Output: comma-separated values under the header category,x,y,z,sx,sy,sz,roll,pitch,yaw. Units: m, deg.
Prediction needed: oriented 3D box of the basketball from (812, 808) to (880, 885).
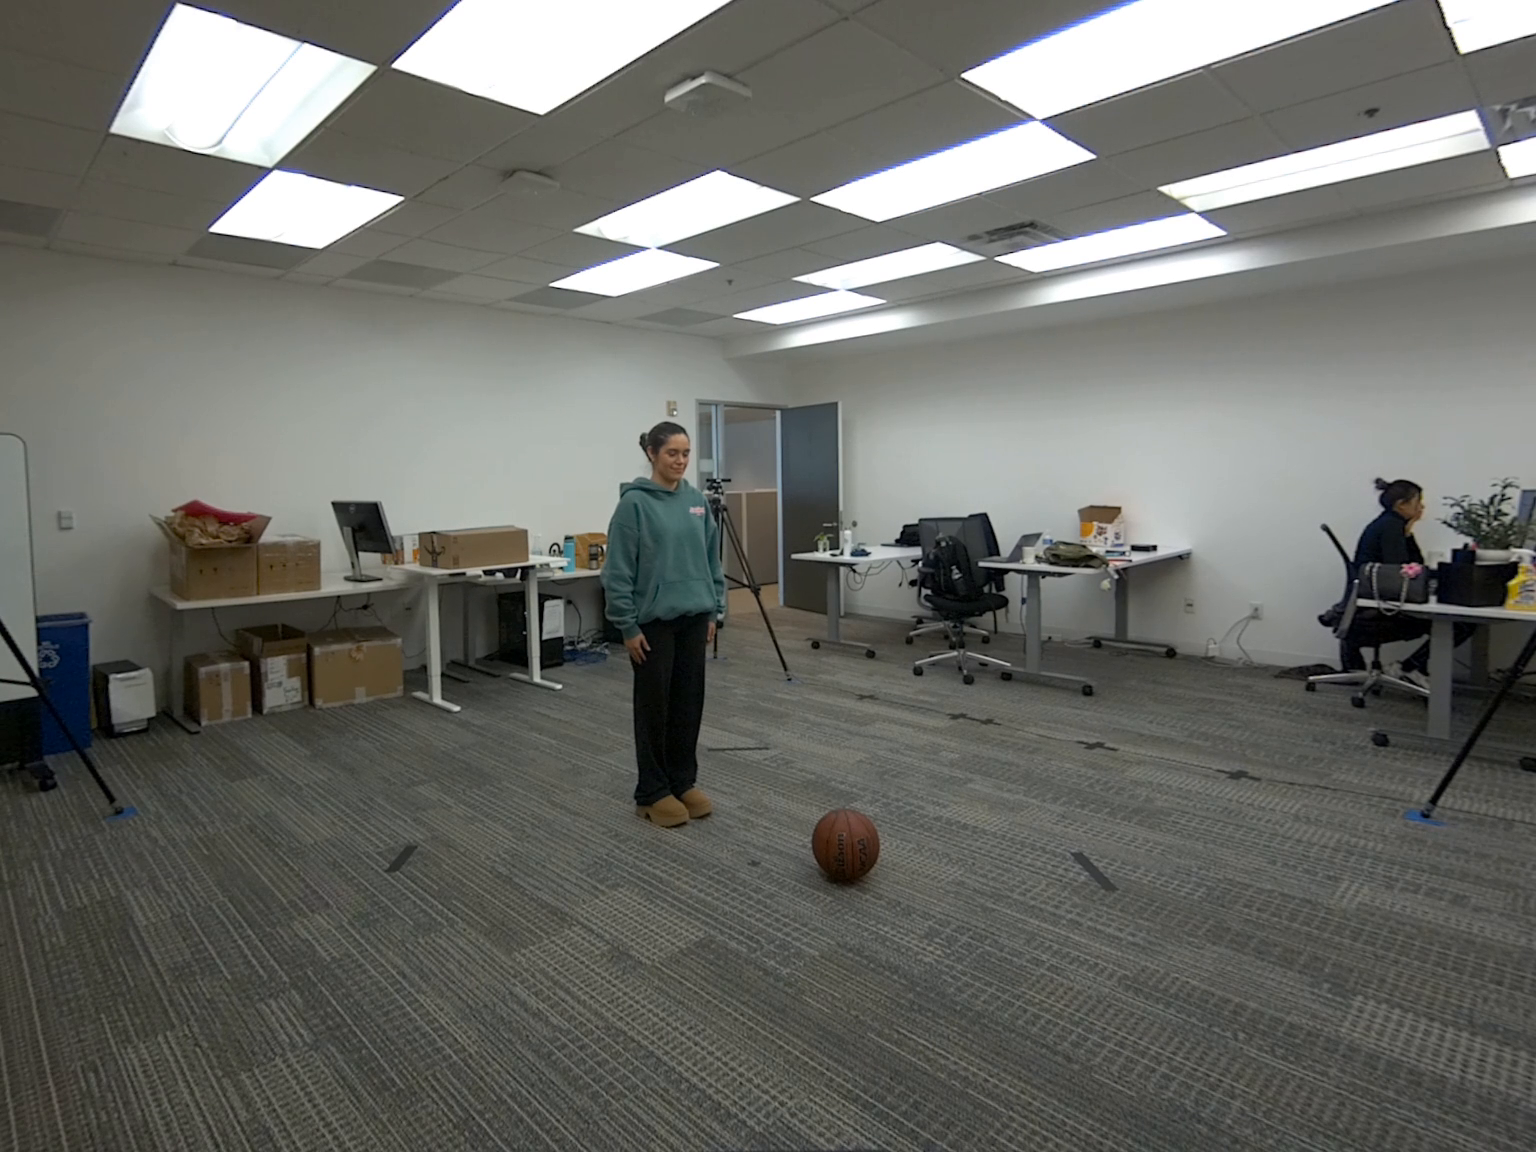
category,x,y,z,sx,sy,sz,roll,pitch,yaw
basketball,0.277,0.932,2.981,0.236,0.235,0.237,-1,5,-2
